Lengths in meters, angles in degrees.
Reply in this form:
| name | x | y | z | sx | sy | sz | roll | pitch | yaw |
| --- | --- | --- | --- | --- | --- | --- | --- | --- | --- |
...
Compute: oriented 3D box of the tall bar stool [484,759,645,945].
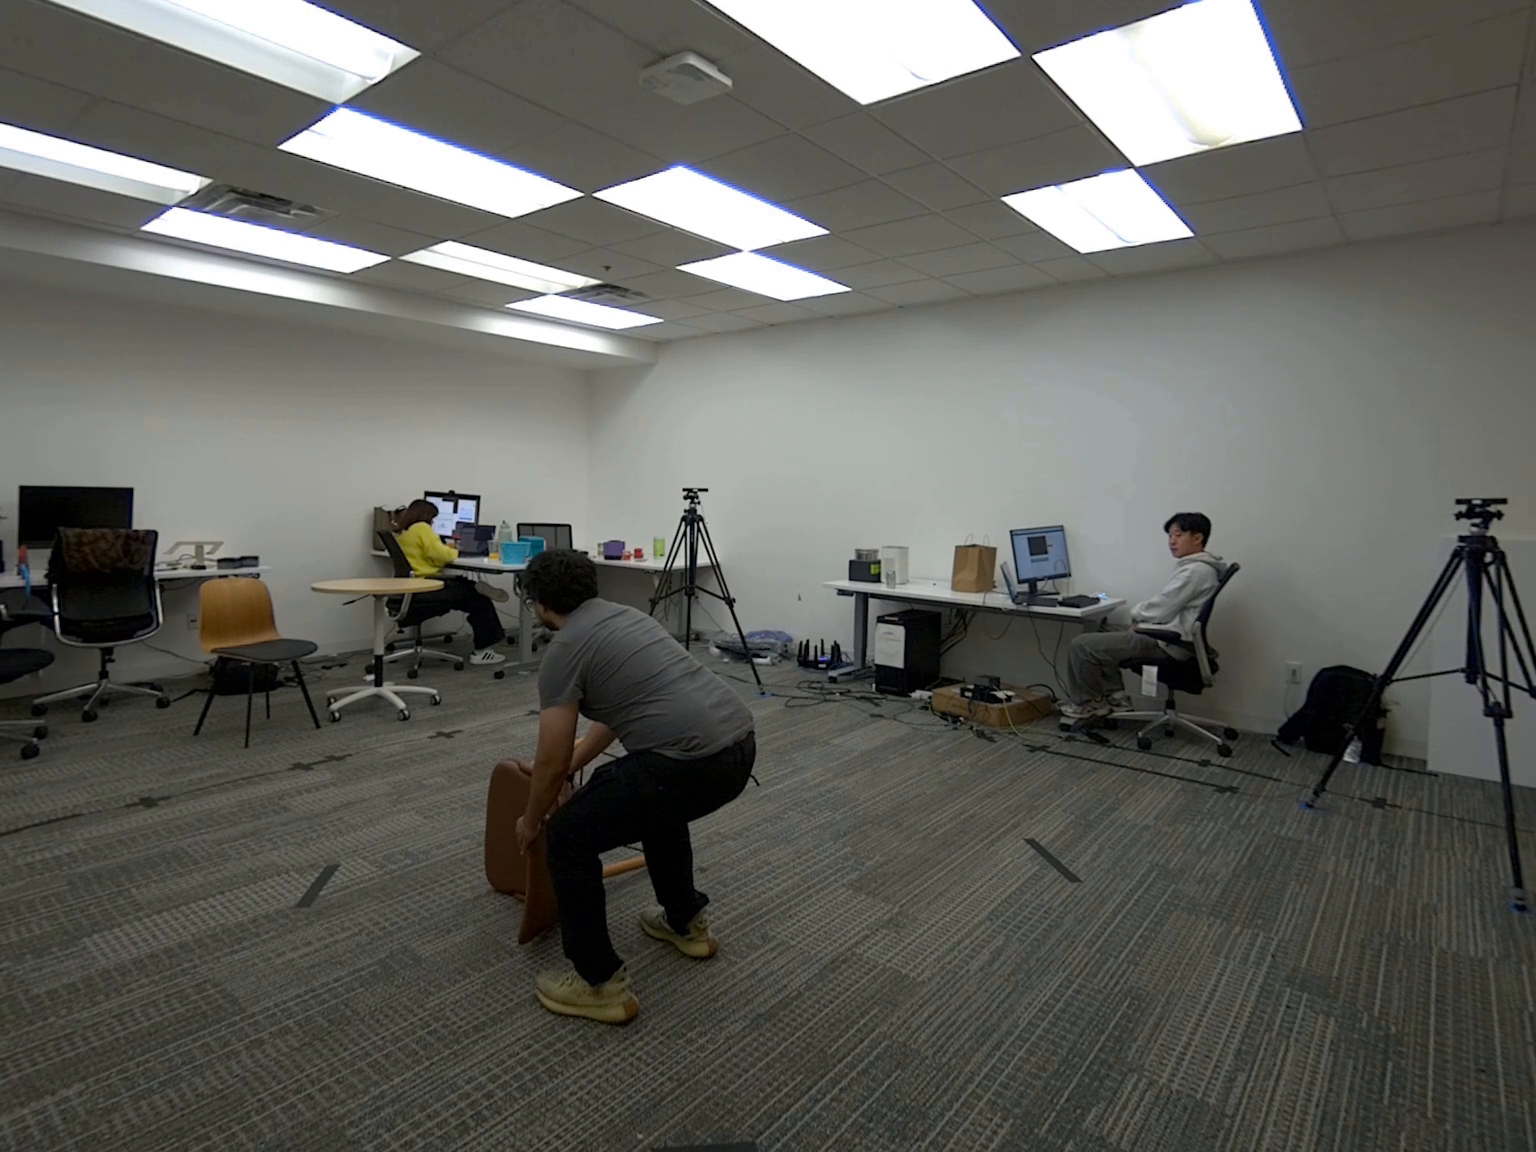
| name | x | y | z | sx | sy | sz | roll | pitch | yaw |
| --- | --- | --- | --- | --- | --- | --- | --- | --- | --- |
| tall bar stool | -0.710 | 0.861 | 2.964 | 0.481 | 0.455 | 0.867 | 6 | 5 | 27 |
